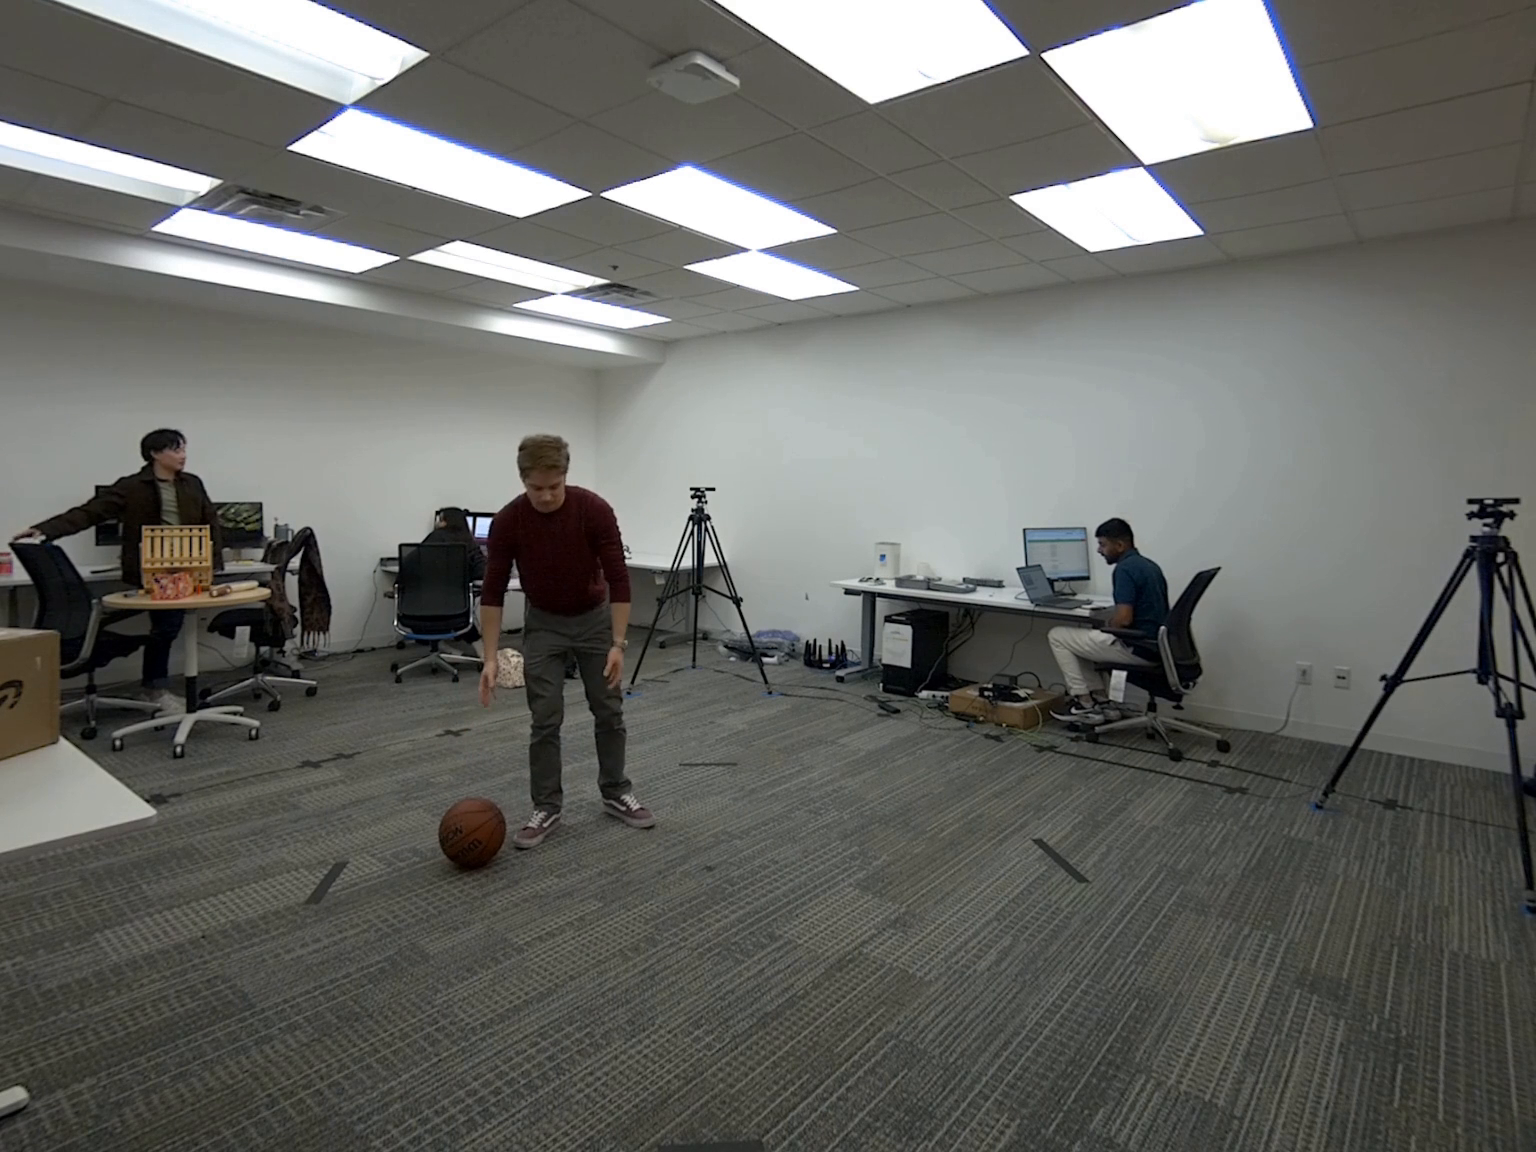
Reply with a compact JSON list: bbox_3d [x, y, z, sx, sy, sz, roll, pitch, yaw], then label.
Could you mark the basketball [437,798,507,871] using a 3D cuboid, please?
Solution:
[{"bbox_3d":[-1.094,0.932,3.107,0.235,0.235,0.237,1,4,-2],"label":"basketball"}]
